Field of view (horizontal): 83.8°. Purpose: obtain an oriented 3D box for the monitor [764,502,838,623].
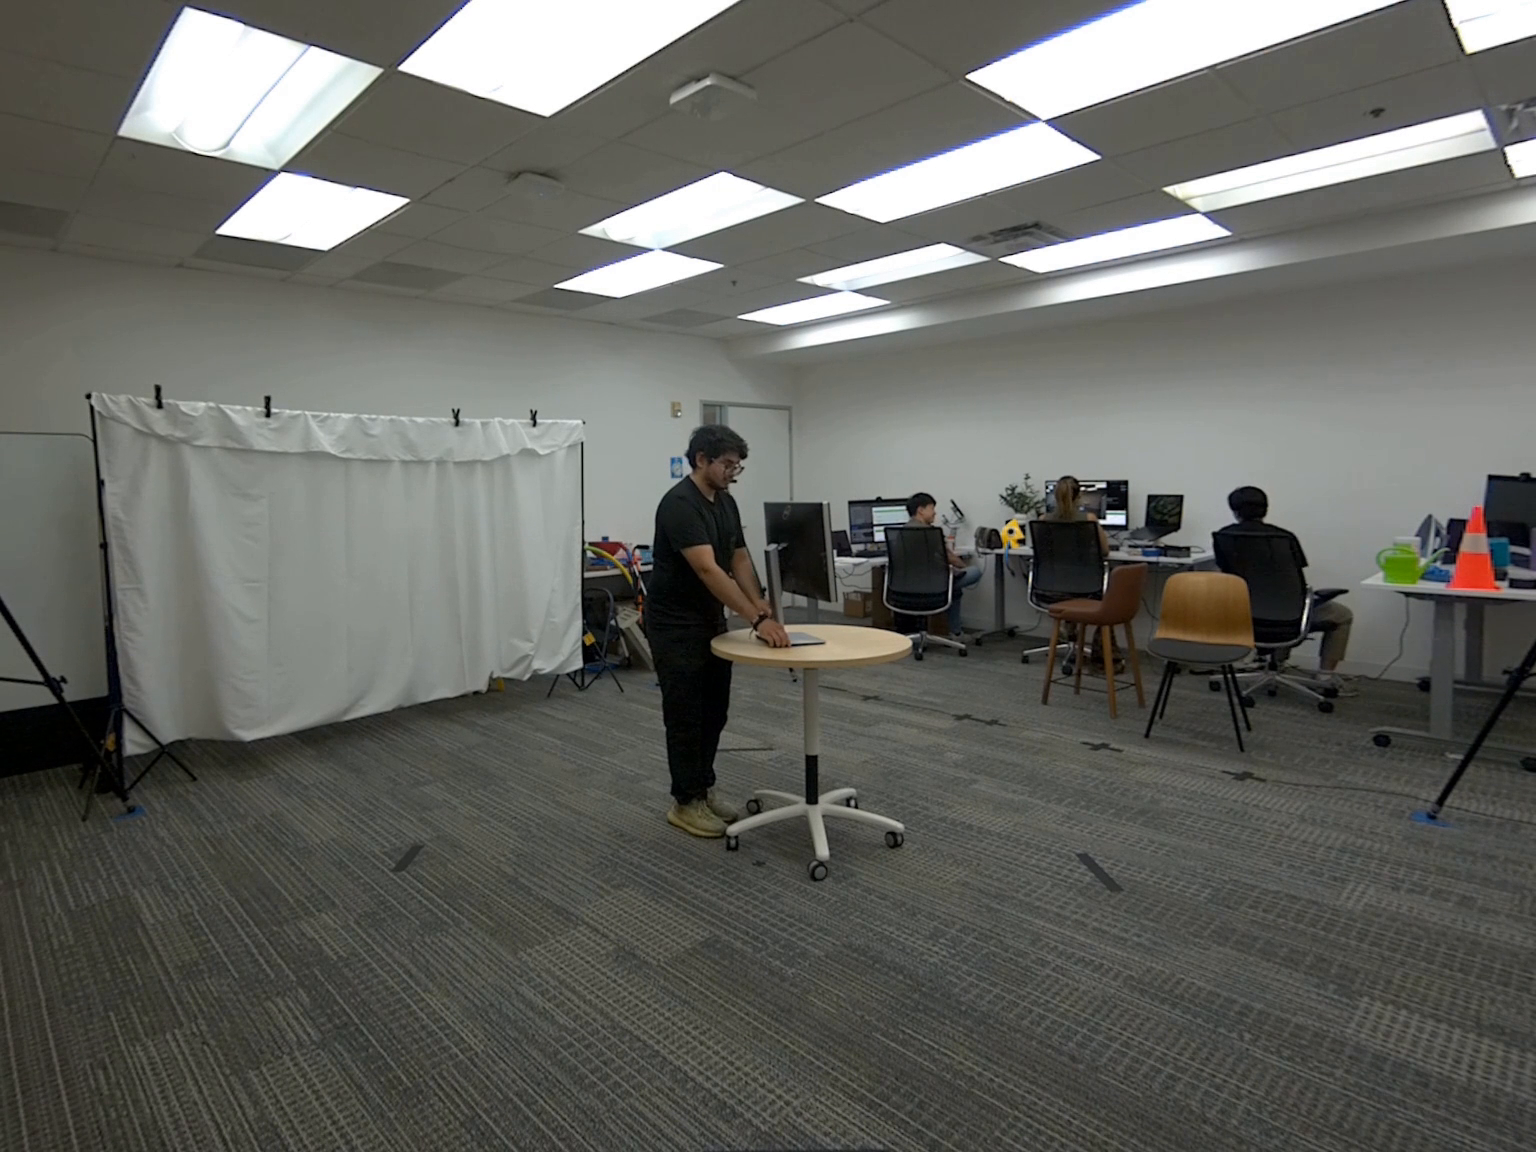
[{"bbox_3d":[0.059,-0.015,3.270,0.206,0.552,0.577,-4,5,-21],"label":"monitor"}]
